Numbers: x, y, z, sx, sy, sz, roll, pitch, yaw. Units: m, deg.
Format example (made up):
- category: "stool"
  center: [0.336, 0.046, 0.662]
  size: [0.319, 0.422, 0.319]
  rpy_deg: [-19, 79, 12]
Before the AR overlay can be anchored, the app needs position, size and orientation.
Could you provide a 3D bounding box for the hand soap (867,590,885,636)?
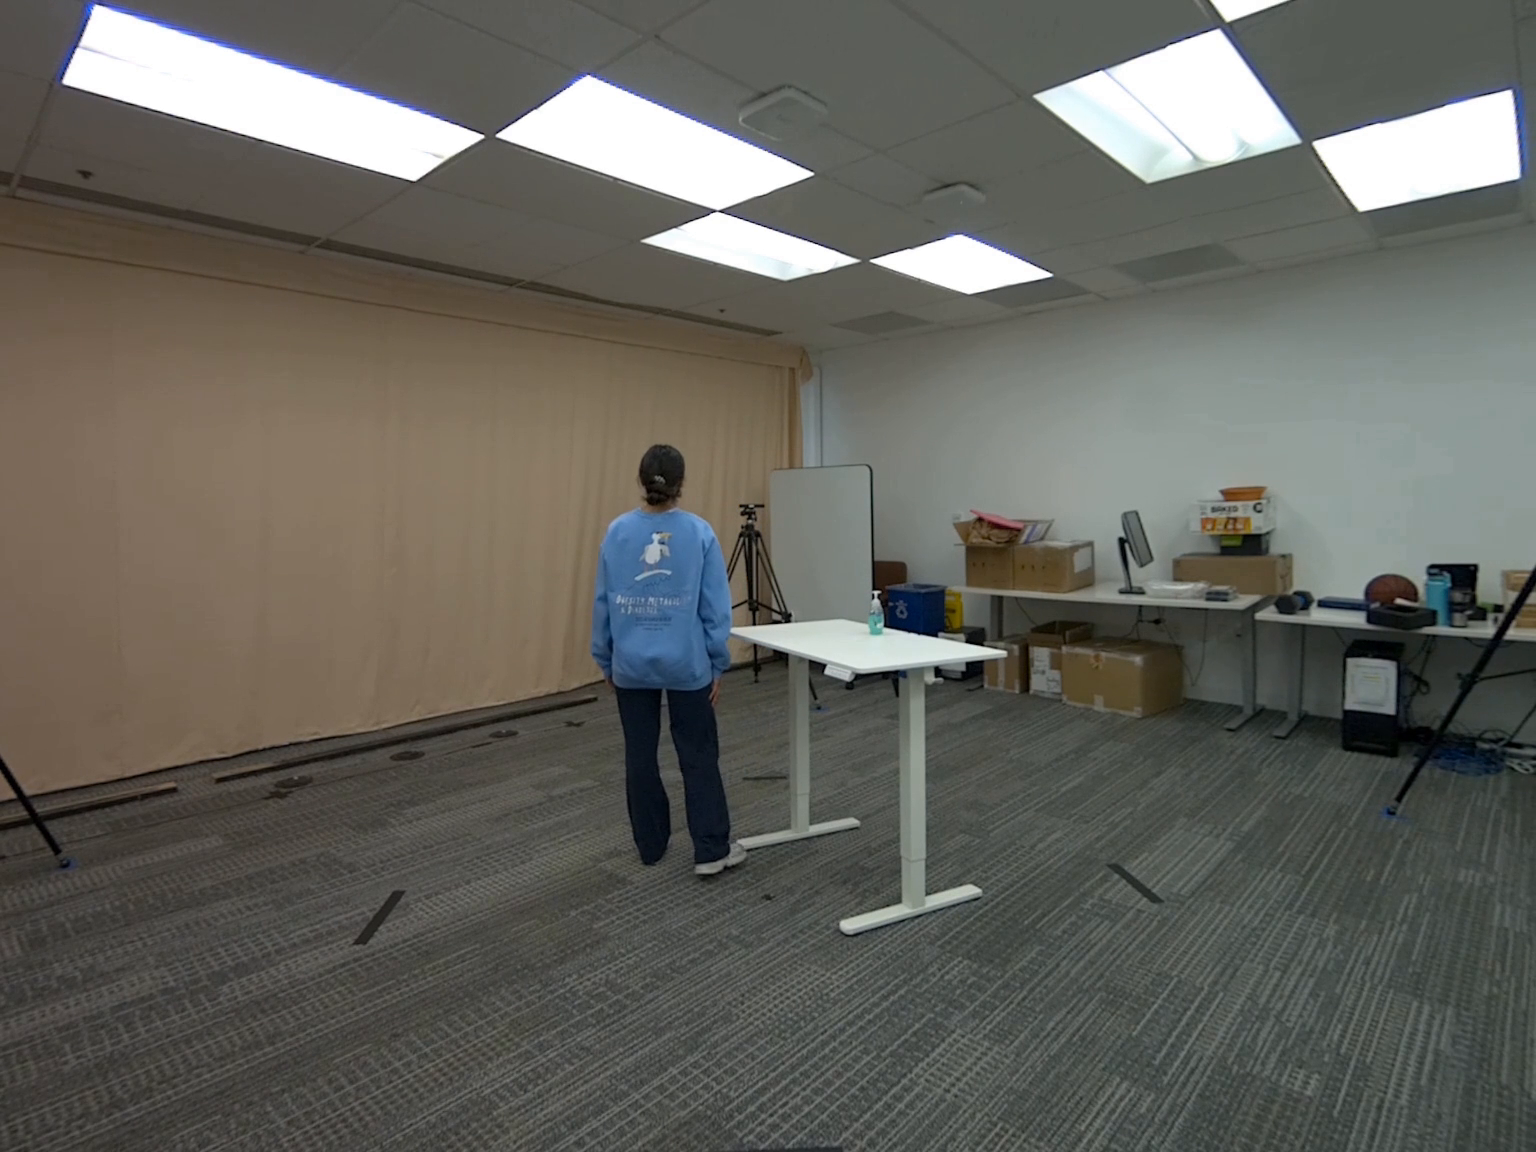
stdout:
- category: "hand soap"
  center: [0.428, 0.143, 3.269]
  size: [0.045, 0.168, 0.082]
  rpy_deg: [2, 3, 42]
